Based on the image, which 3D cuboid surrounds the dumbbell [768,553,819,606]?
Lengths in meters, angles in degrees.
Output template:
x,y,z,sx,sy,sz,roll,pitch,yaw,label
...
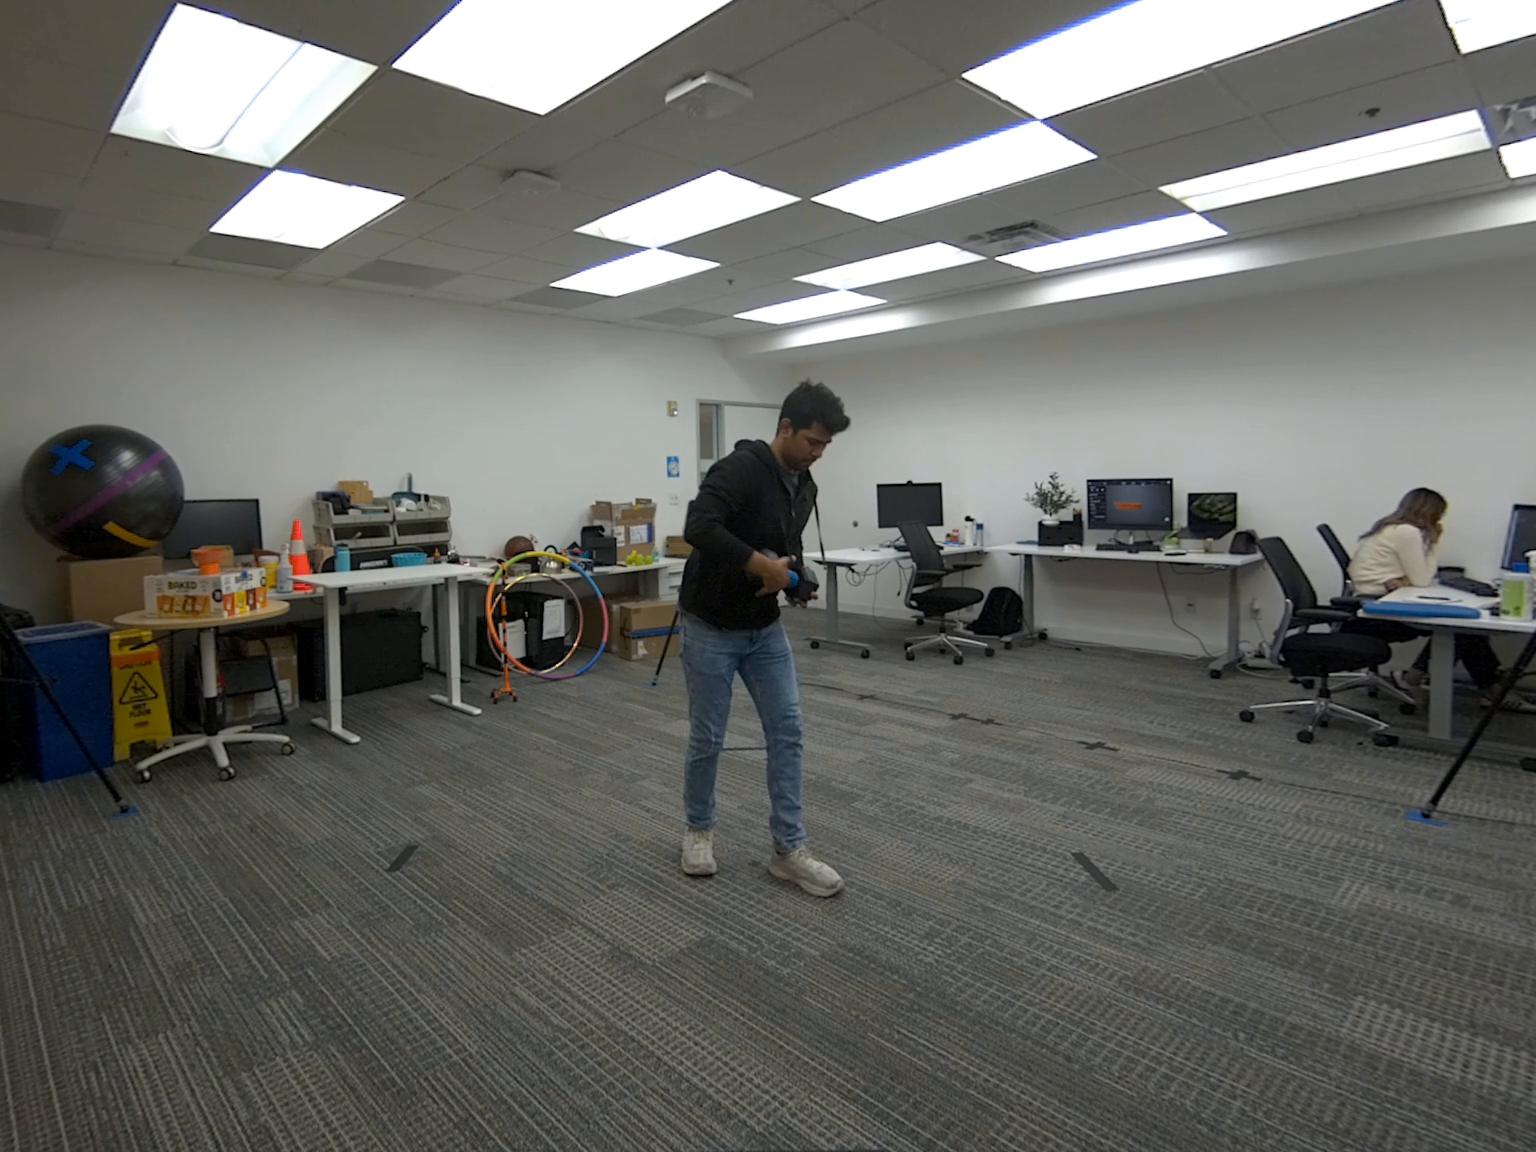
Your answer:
x,y,z,sx,sy,sz,roll,pitch,yaw,label
0.043,0.025,2.882,0.126,0.110,0.283,-8,-20,40,dumbbell
